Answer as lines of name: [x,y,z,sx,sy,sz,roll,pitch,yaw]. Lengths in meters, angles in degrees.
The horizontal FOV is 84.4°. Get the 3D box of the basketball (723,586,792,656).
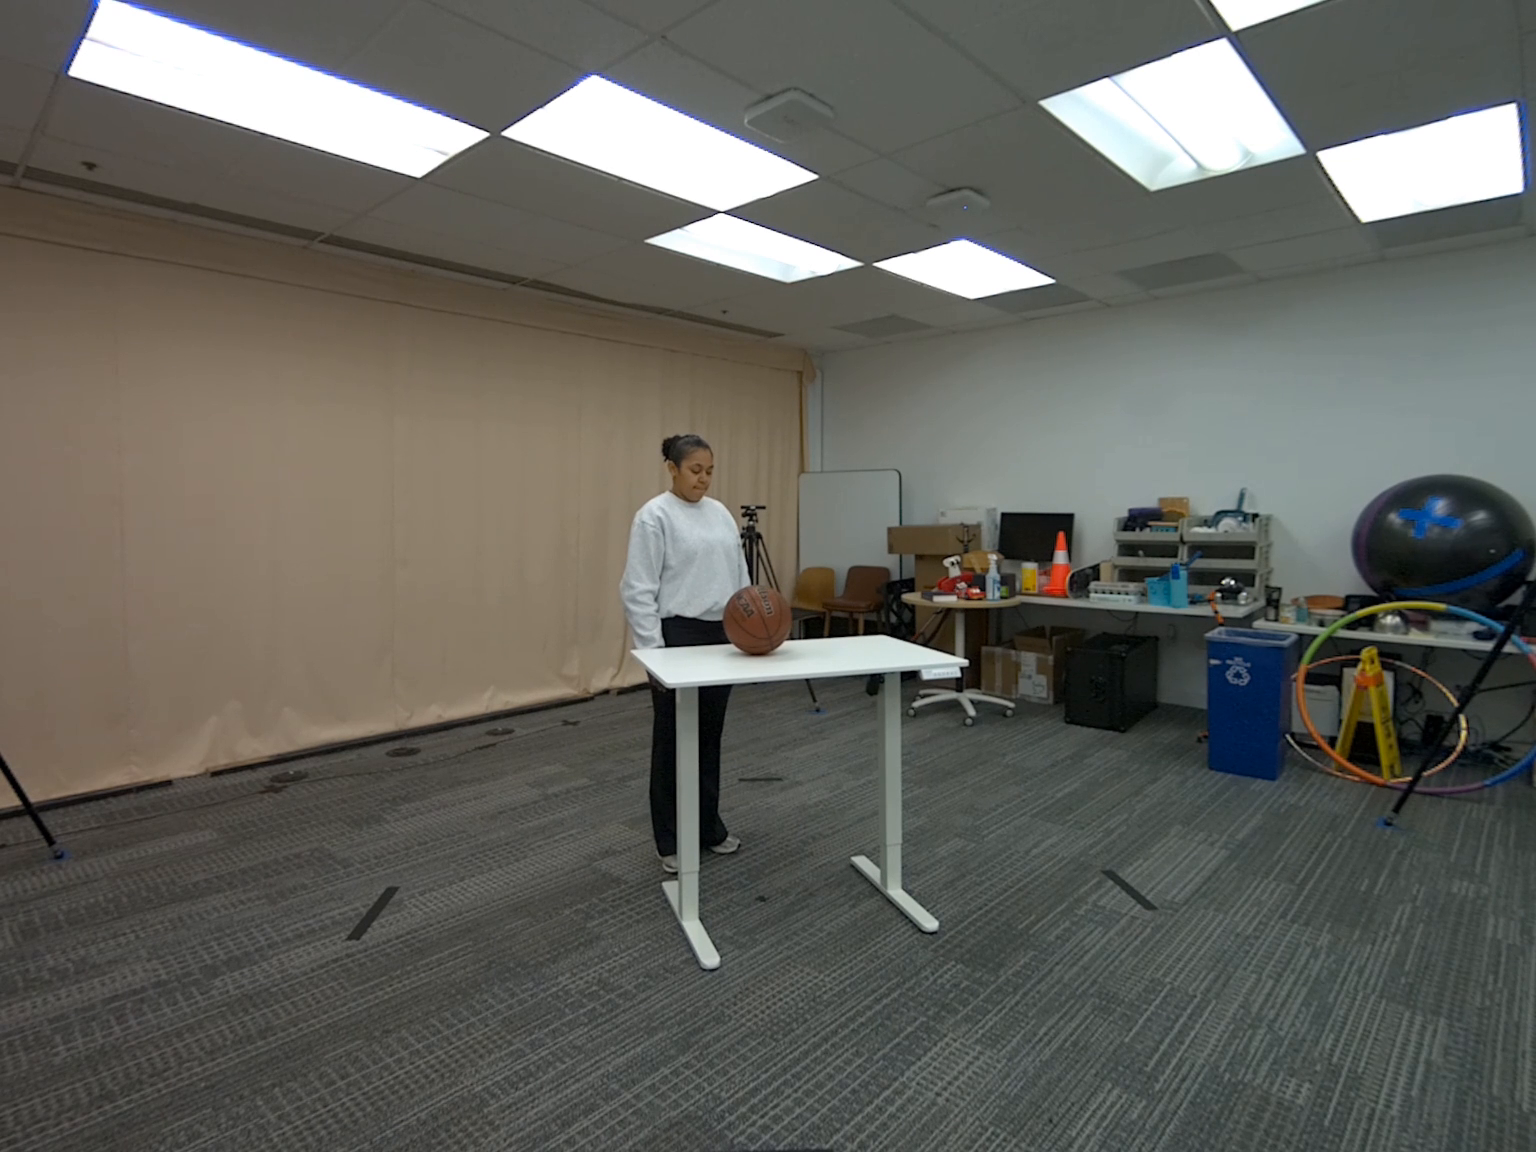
basketball: [-0.030,0.150,2.899,0.236,0.235,0.237,0,4,-2]
